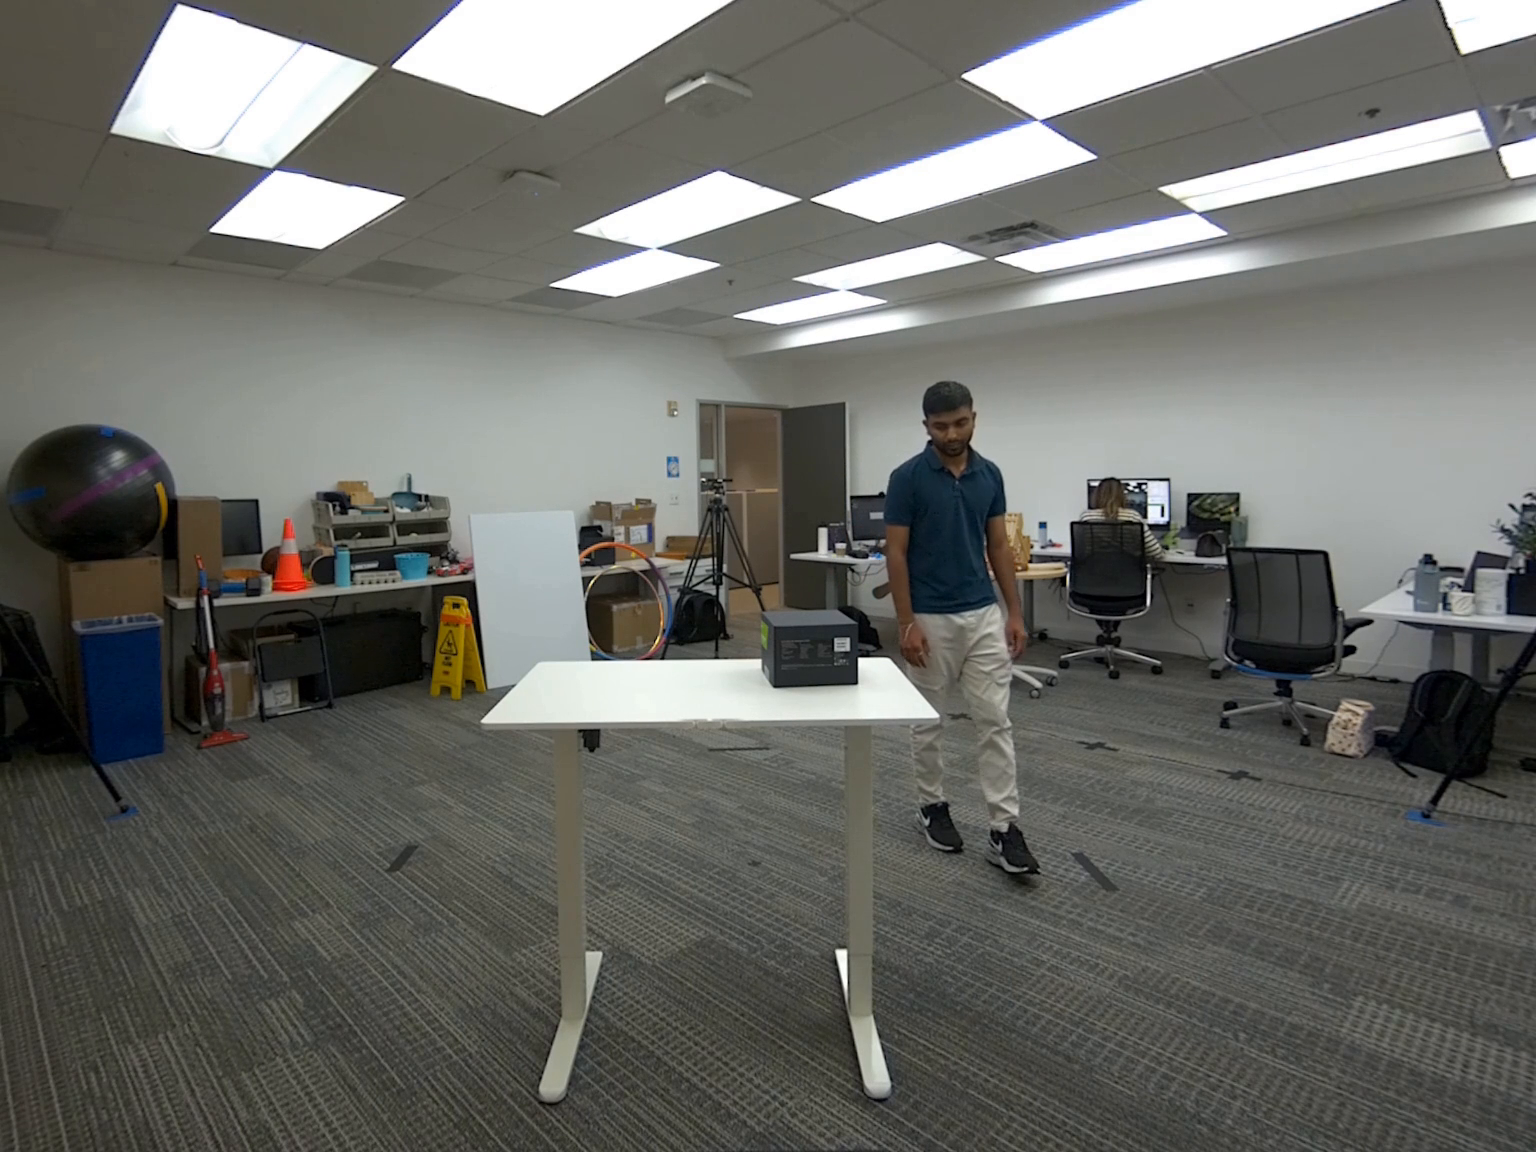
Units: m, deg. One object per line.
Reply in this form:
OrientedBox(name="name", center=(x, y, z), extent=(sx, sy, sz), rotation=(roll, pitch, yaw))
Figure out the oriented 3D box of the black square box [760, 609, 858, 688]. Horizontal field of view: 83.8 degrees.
OrientedBox(name="black square box", center=(0.090, 0.188, 2.224), extent=(0.216, 0.155, 0.230), rotation=(-2, 8, -3))
